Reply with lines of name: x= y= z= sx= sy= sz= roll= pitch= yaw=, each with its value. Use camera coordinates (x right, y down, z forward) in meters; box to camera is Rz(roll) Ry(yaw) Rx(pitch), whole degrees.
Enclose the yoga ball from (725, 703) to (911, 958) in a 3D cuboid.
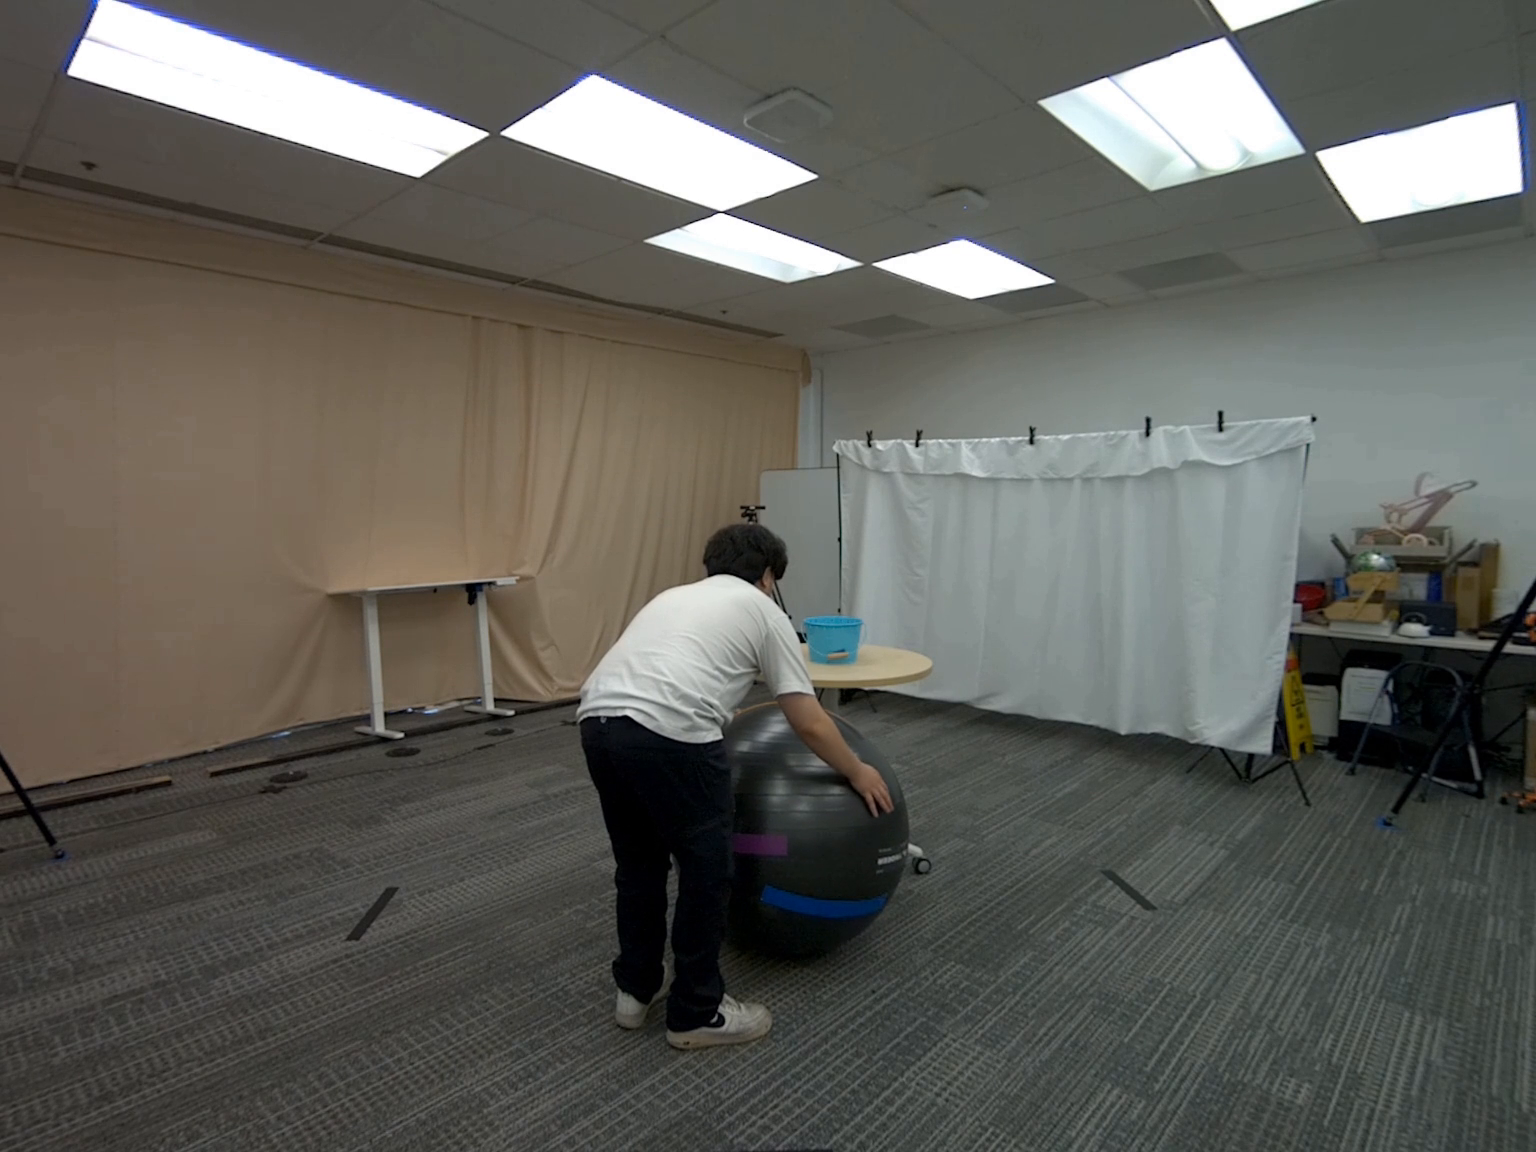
yoga ball: x=0.066 y=0.805 z=2.687 sx=0.757 sy=0.756 sz=0.760 roll=0 pitch=4 yaw=-2
